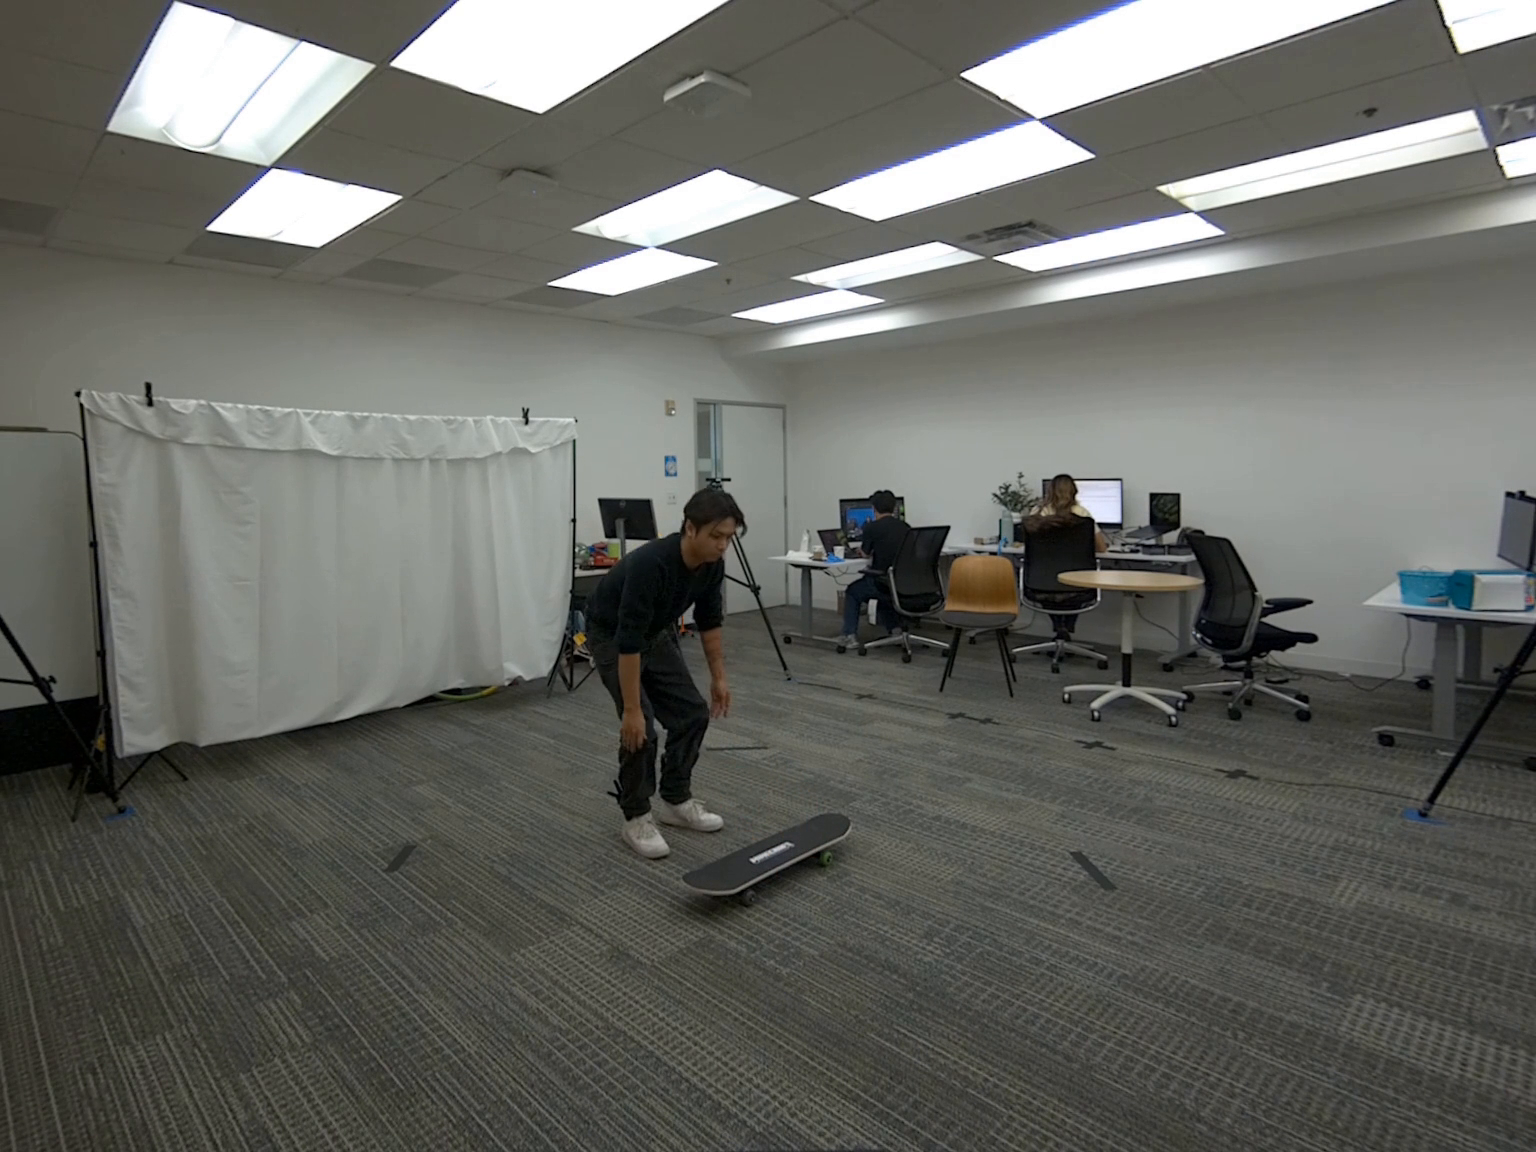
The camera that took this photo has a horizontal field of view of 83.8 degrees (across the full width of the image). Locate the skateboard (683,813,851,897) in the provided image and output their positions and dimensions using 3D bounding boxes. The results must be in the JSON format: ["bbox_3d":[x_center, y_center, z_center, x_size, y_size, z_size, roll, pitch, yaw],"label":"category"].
[{"bbox_3d":[0.018,0.994,2.988,0.199,0.110,0.765,4,9,44],"label":"skateboard"}]
